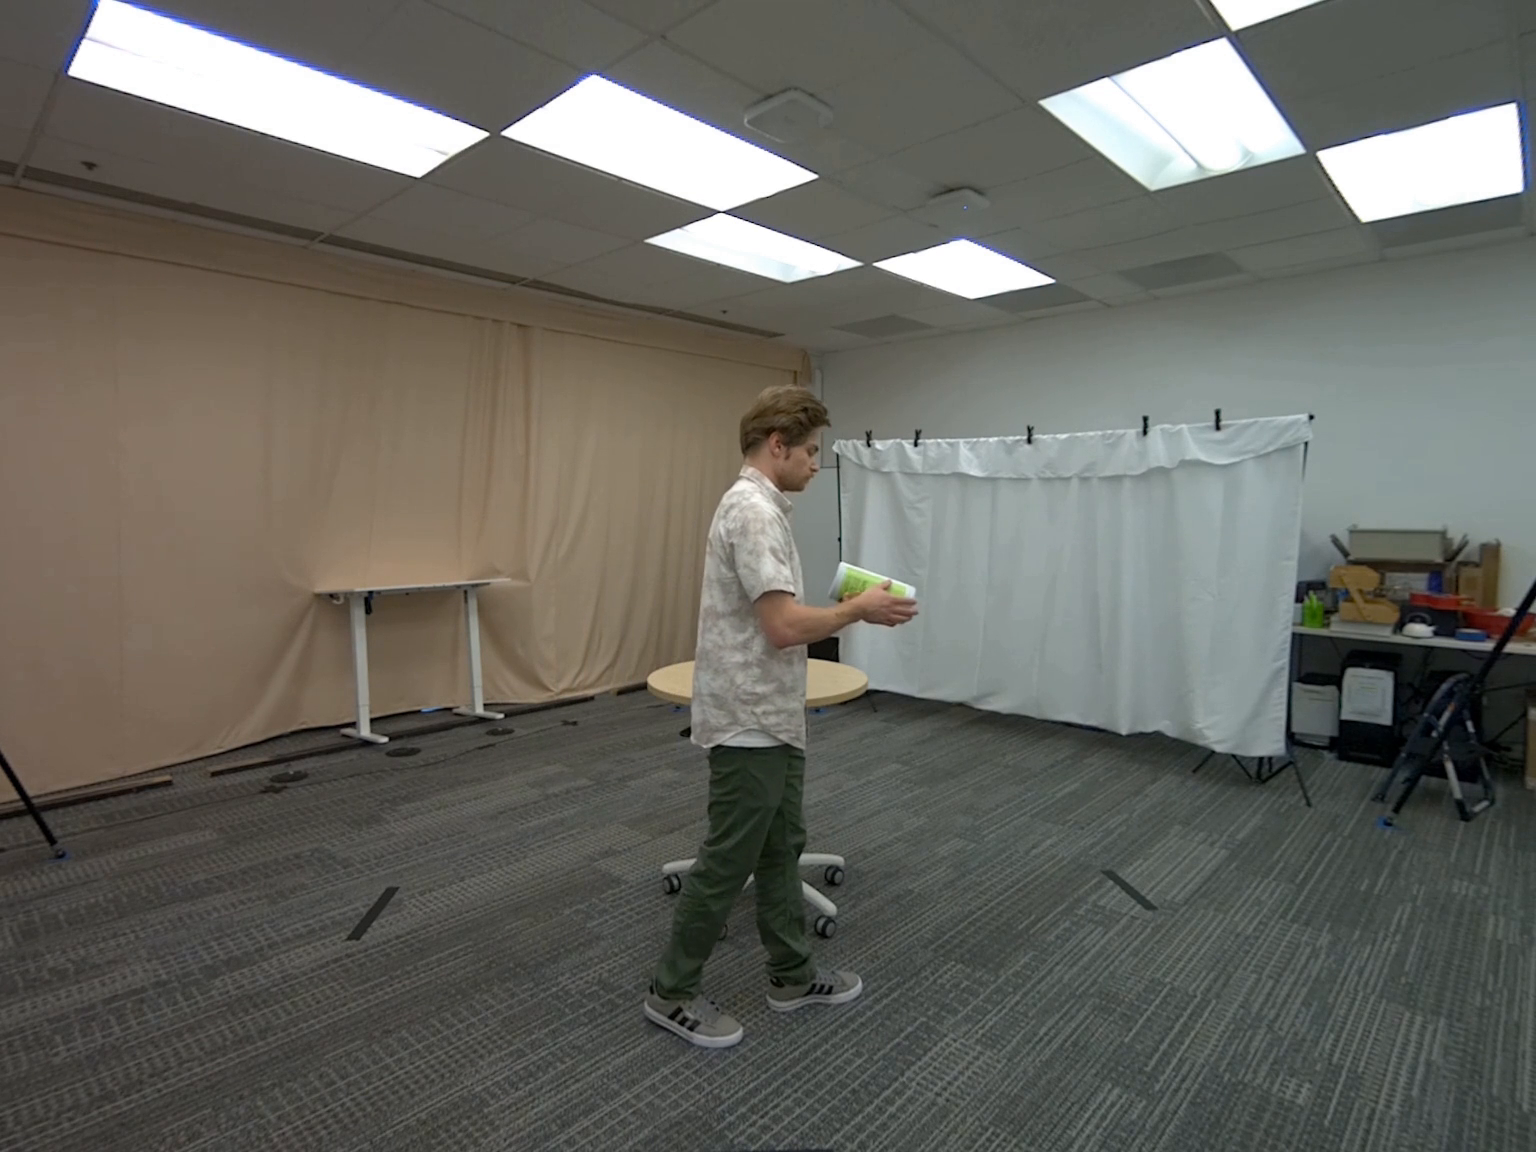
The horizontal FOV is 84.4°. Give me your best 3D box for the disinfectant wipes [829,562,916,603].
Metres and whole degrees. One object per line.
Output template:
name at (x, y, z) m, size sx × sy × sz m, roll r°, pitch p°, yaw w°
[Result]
disinfectant wipes at (0.278, 0.045, 2.271) m, size 0.220 × 0.117 × 0.117 m, roll 19°, pitch 6°, yaw 8°
